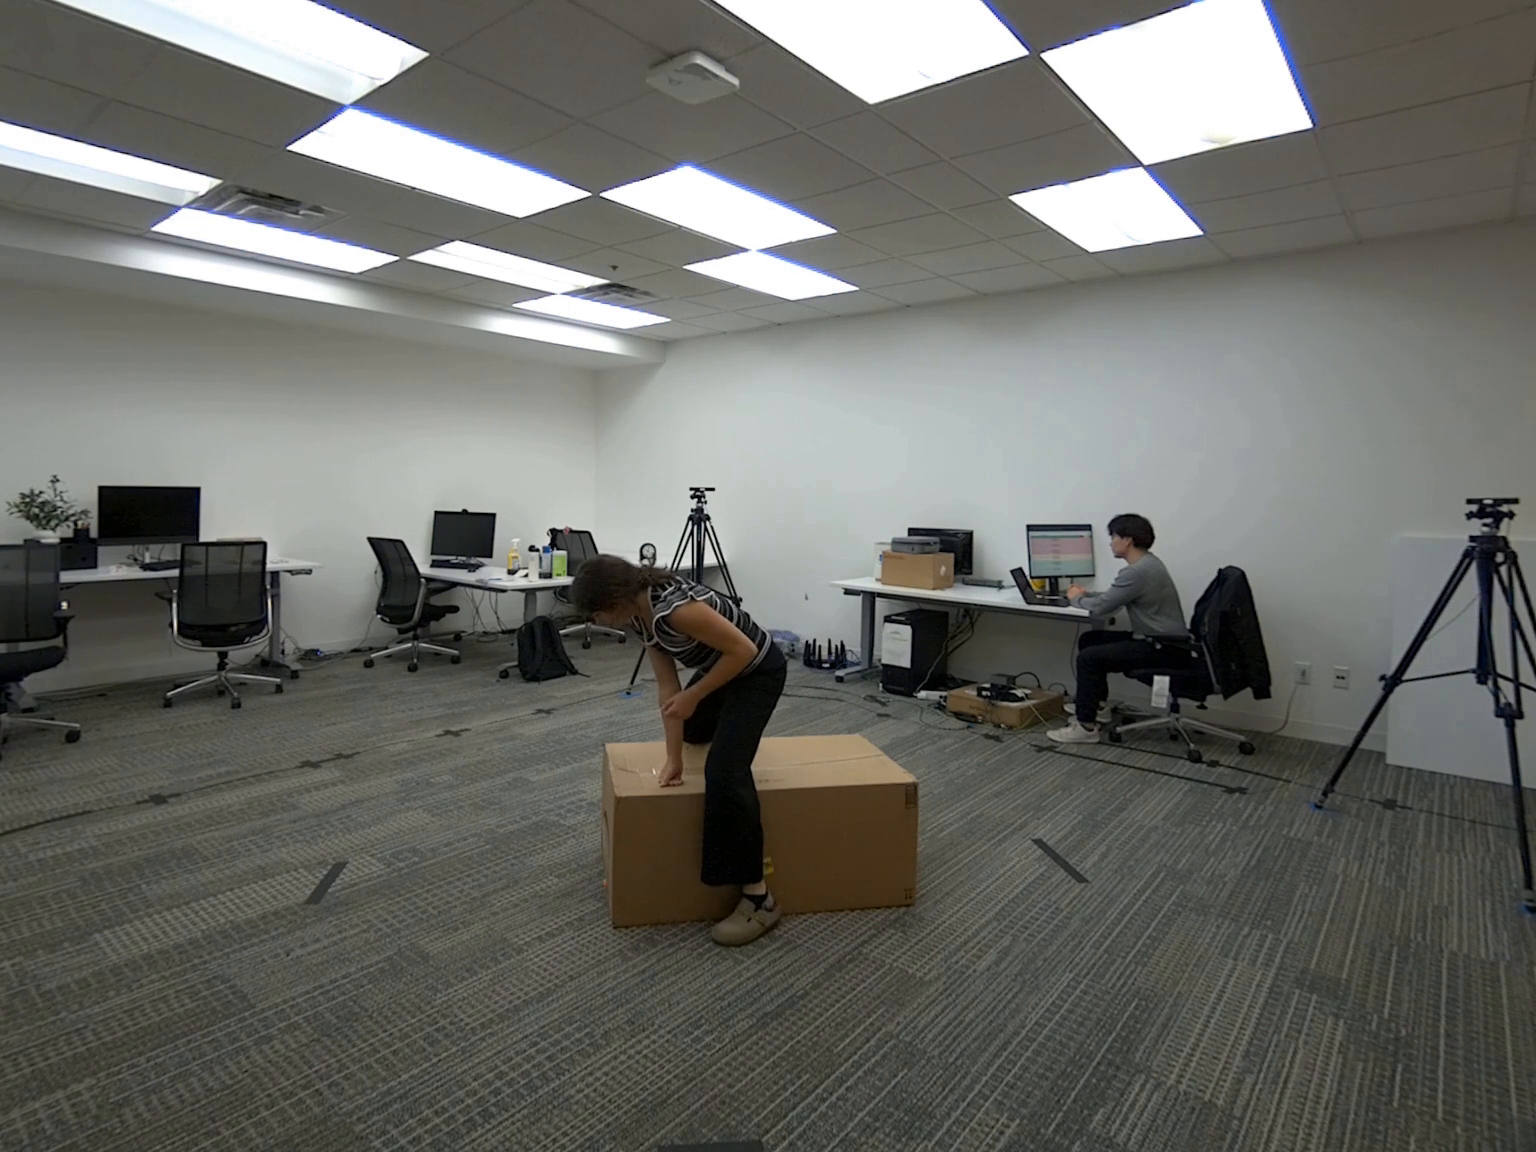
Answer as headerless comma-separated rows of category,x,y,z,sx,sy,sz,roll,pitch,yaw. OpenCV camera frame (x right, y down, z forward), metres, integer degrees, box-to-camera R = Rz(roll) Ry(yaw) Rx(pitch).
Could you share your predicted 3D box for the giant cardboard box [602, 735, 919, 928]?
giant cardboard box,-0.068,0.871,3.036,1.013,0.425,0.587,0,4,-12
